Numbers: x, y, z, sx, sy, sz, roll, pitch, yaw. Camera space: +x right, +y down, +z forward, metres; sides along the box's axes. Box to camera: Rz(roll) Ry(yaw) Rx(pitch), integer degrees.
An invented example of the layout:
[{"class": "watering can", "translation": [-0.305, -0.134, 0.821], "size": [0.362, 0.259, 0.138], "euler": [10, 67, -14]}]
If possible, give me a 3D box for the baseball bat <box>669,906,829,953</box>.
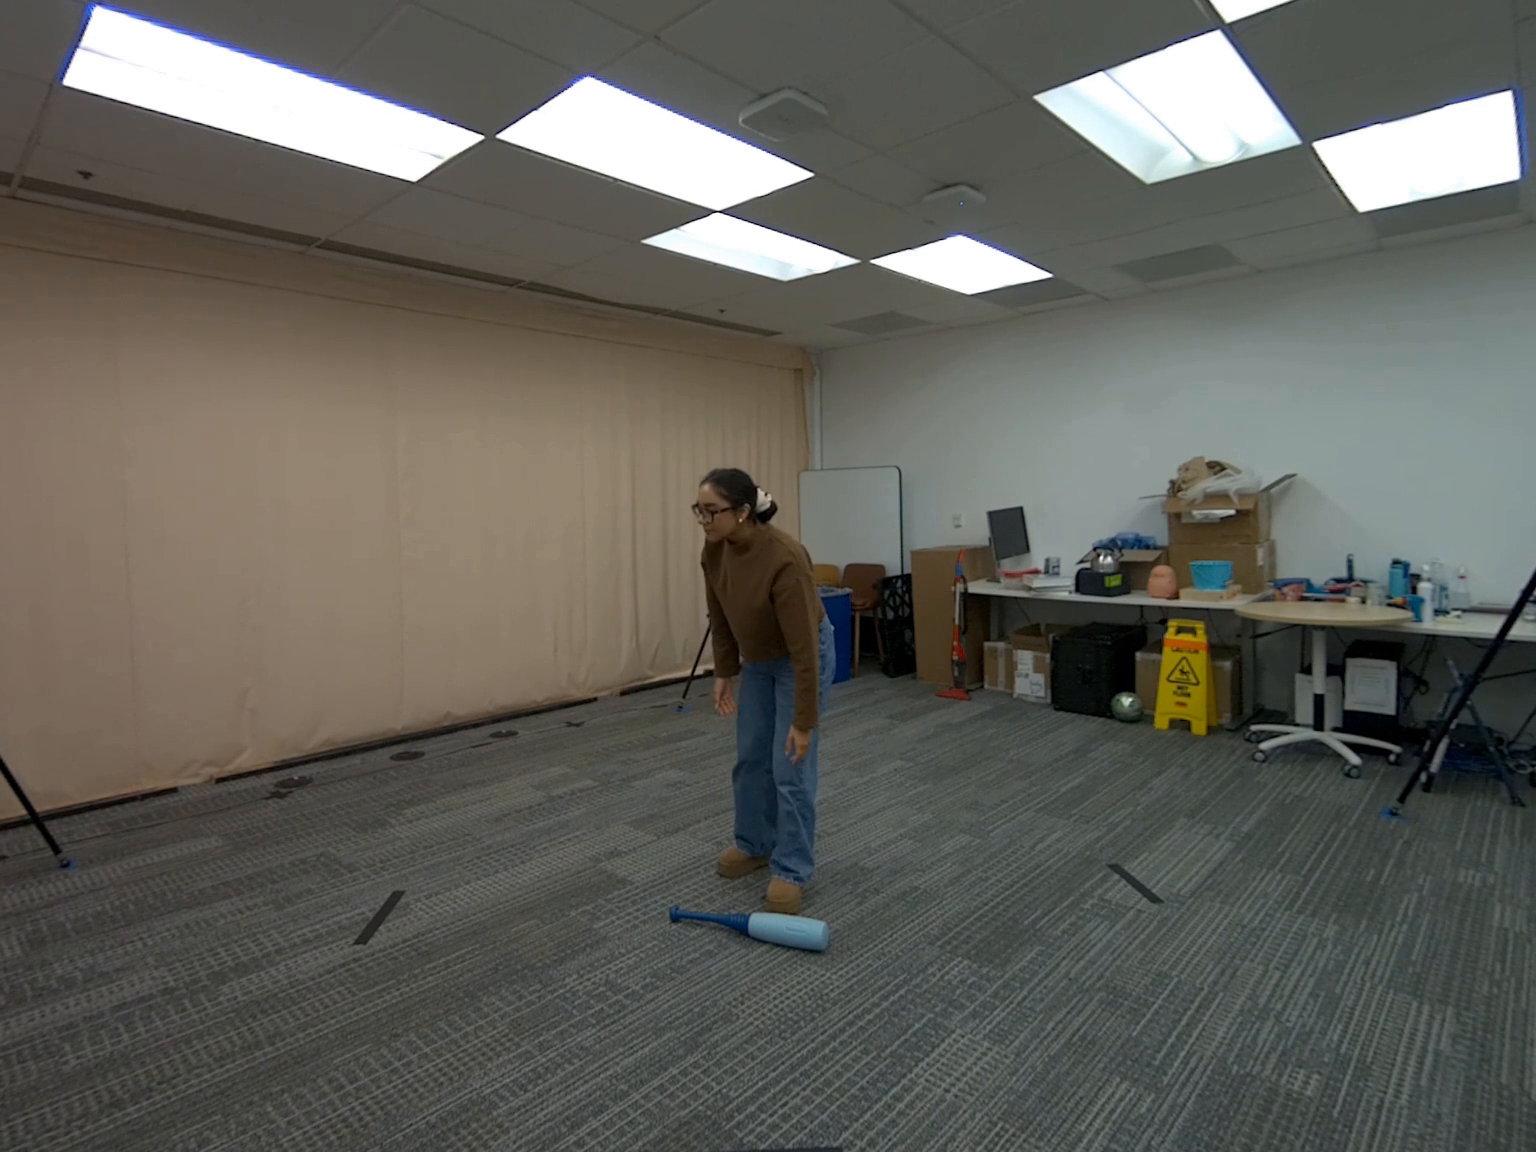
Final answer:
[{"class": "baseball bat", "translation": [-0.070, 1.121, 2.725], "size": [0.556, 0.089, 0.087], "euler": [-1, 3, 24]}]
